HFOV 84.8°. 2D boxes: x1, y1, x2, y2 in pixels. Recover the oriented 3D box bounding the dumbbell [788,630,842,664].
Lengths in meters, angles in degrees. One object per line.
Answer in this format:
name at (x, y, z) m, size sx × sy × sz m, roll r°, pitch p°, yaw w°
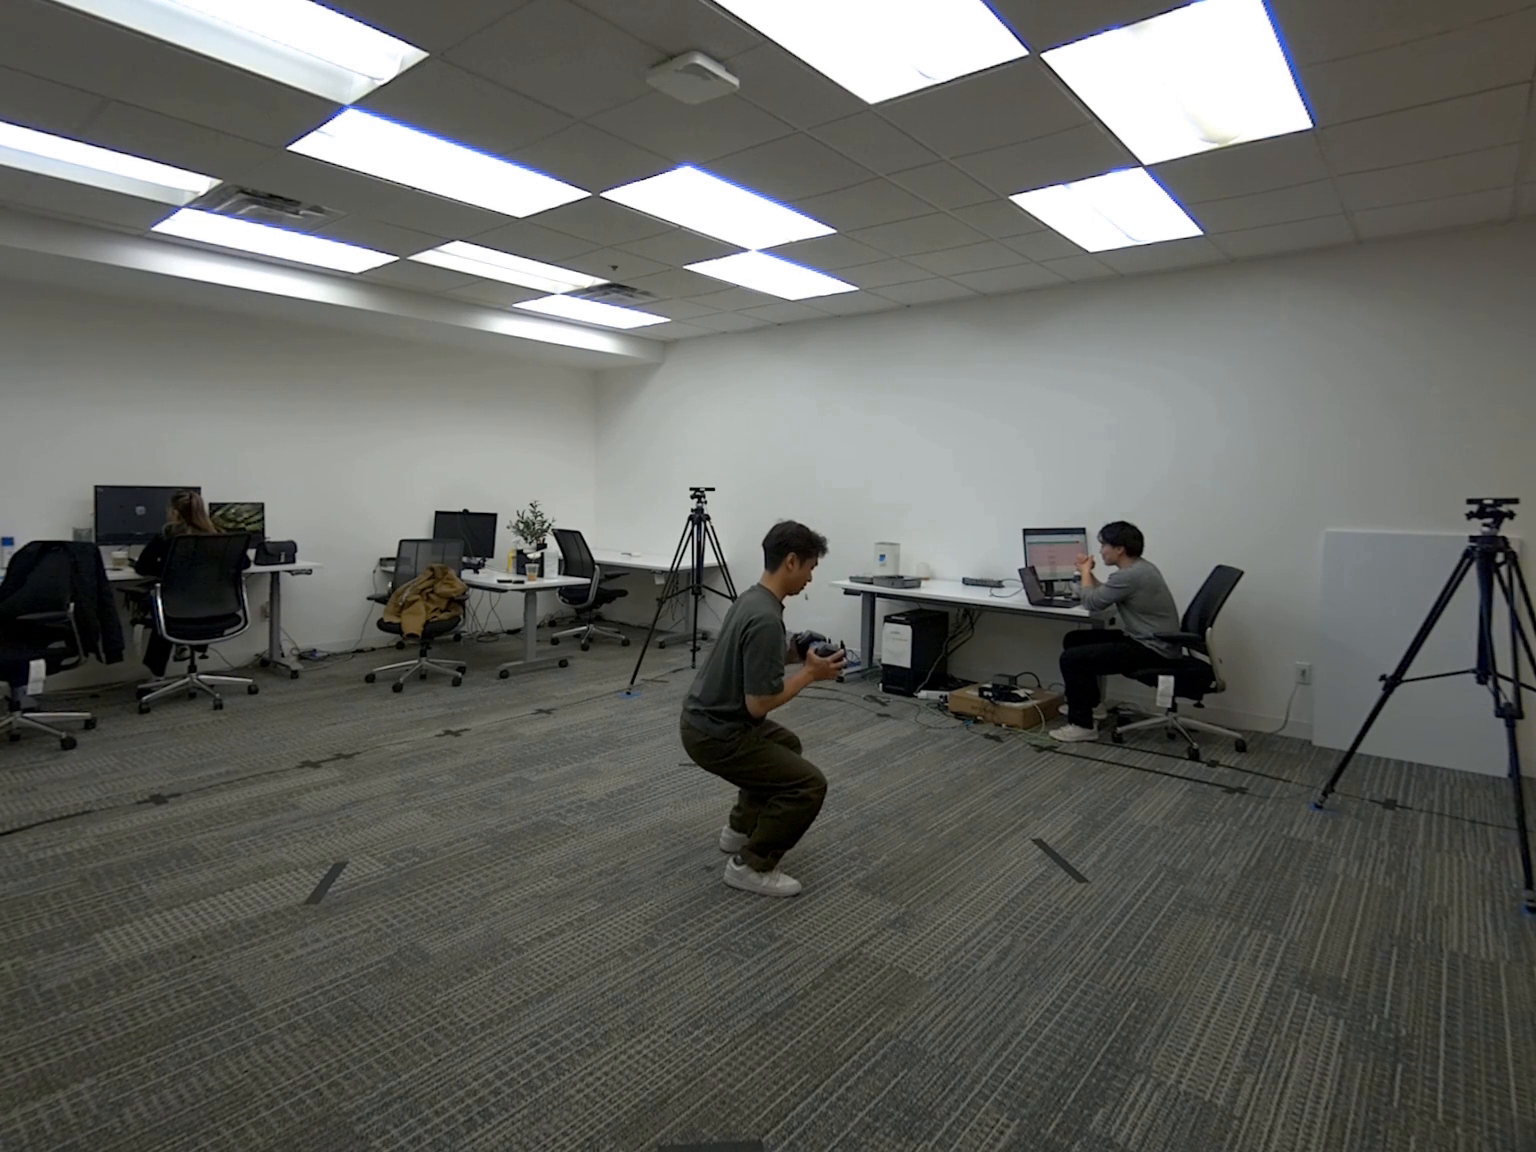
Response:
dumbbell at (0.172, 0.282, 3.112) m, size 0.123 × 0.107 × 0.298 m, roll -41°, pitch 13°, yaw -3°
